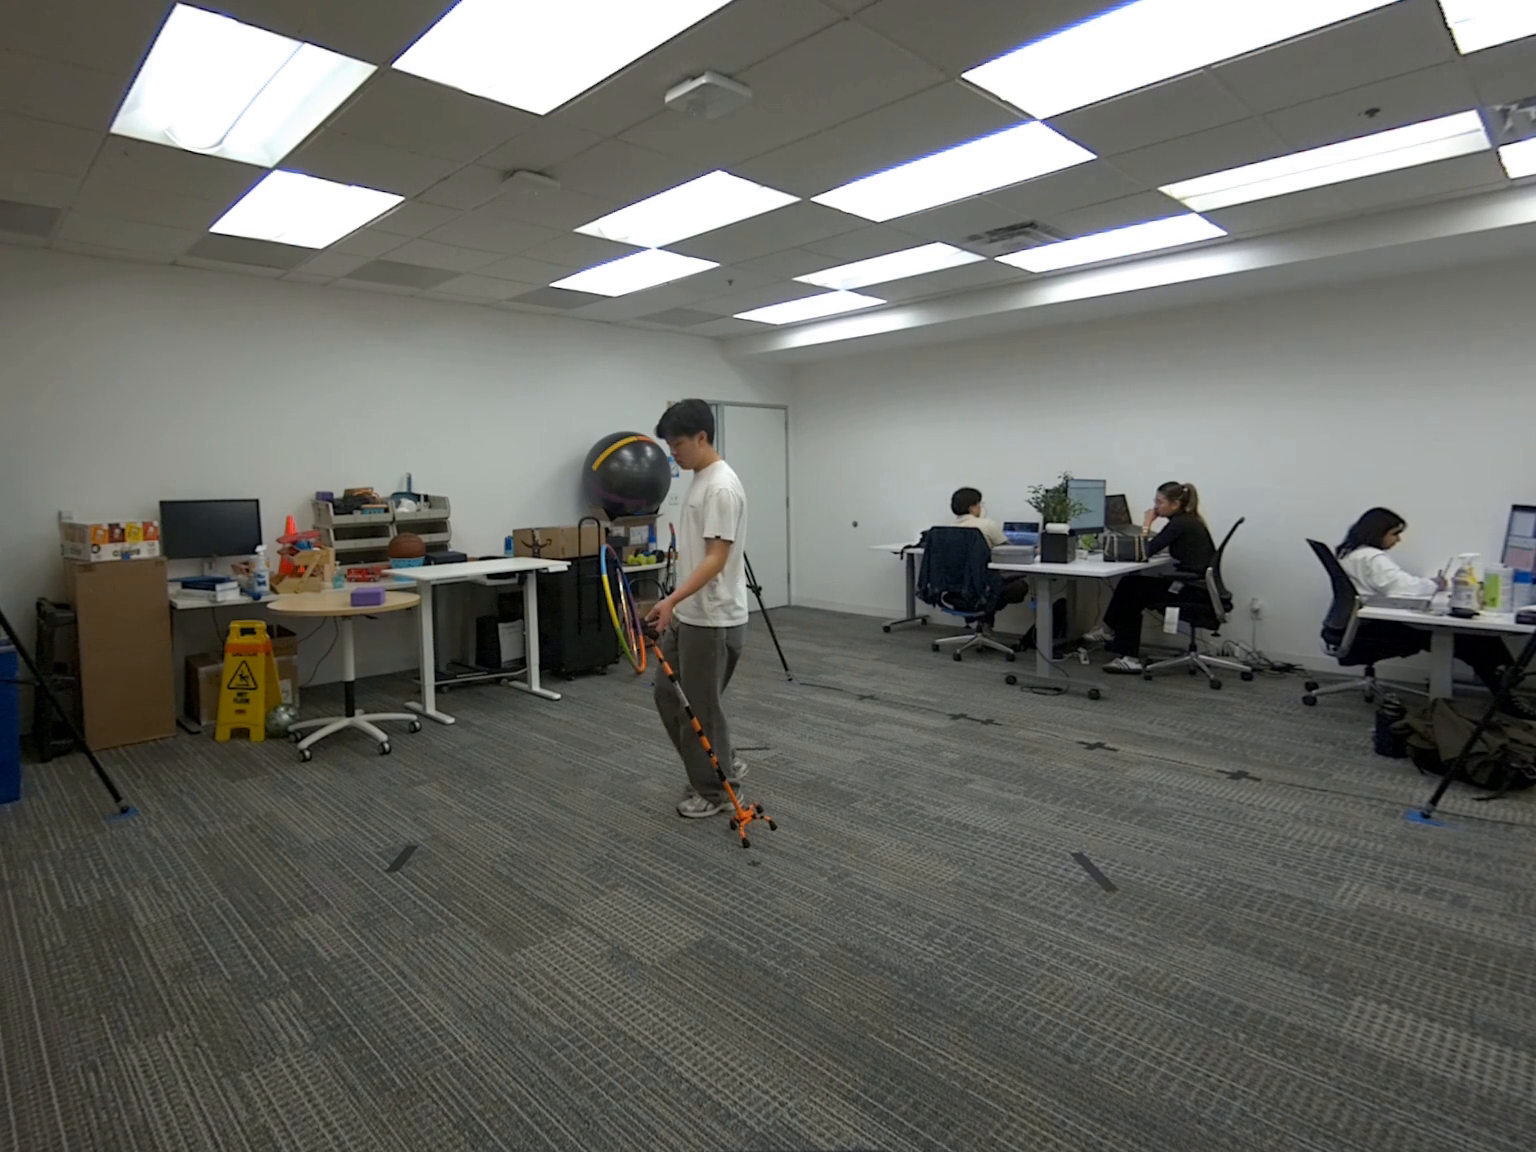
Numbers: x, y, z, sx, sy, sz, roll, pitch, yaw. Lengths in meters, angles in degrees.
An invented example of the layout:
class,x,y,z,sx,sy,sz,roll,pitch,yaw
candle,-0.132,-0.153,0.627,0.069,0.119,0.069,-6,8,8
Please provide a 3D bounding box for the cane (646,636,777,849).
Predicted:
class,x,y,z,sx,sy,sz,roll,pitch,yaw
cane,-0.249,0.597,3.271,0.151,0.897,0.210,-29,10,-14
